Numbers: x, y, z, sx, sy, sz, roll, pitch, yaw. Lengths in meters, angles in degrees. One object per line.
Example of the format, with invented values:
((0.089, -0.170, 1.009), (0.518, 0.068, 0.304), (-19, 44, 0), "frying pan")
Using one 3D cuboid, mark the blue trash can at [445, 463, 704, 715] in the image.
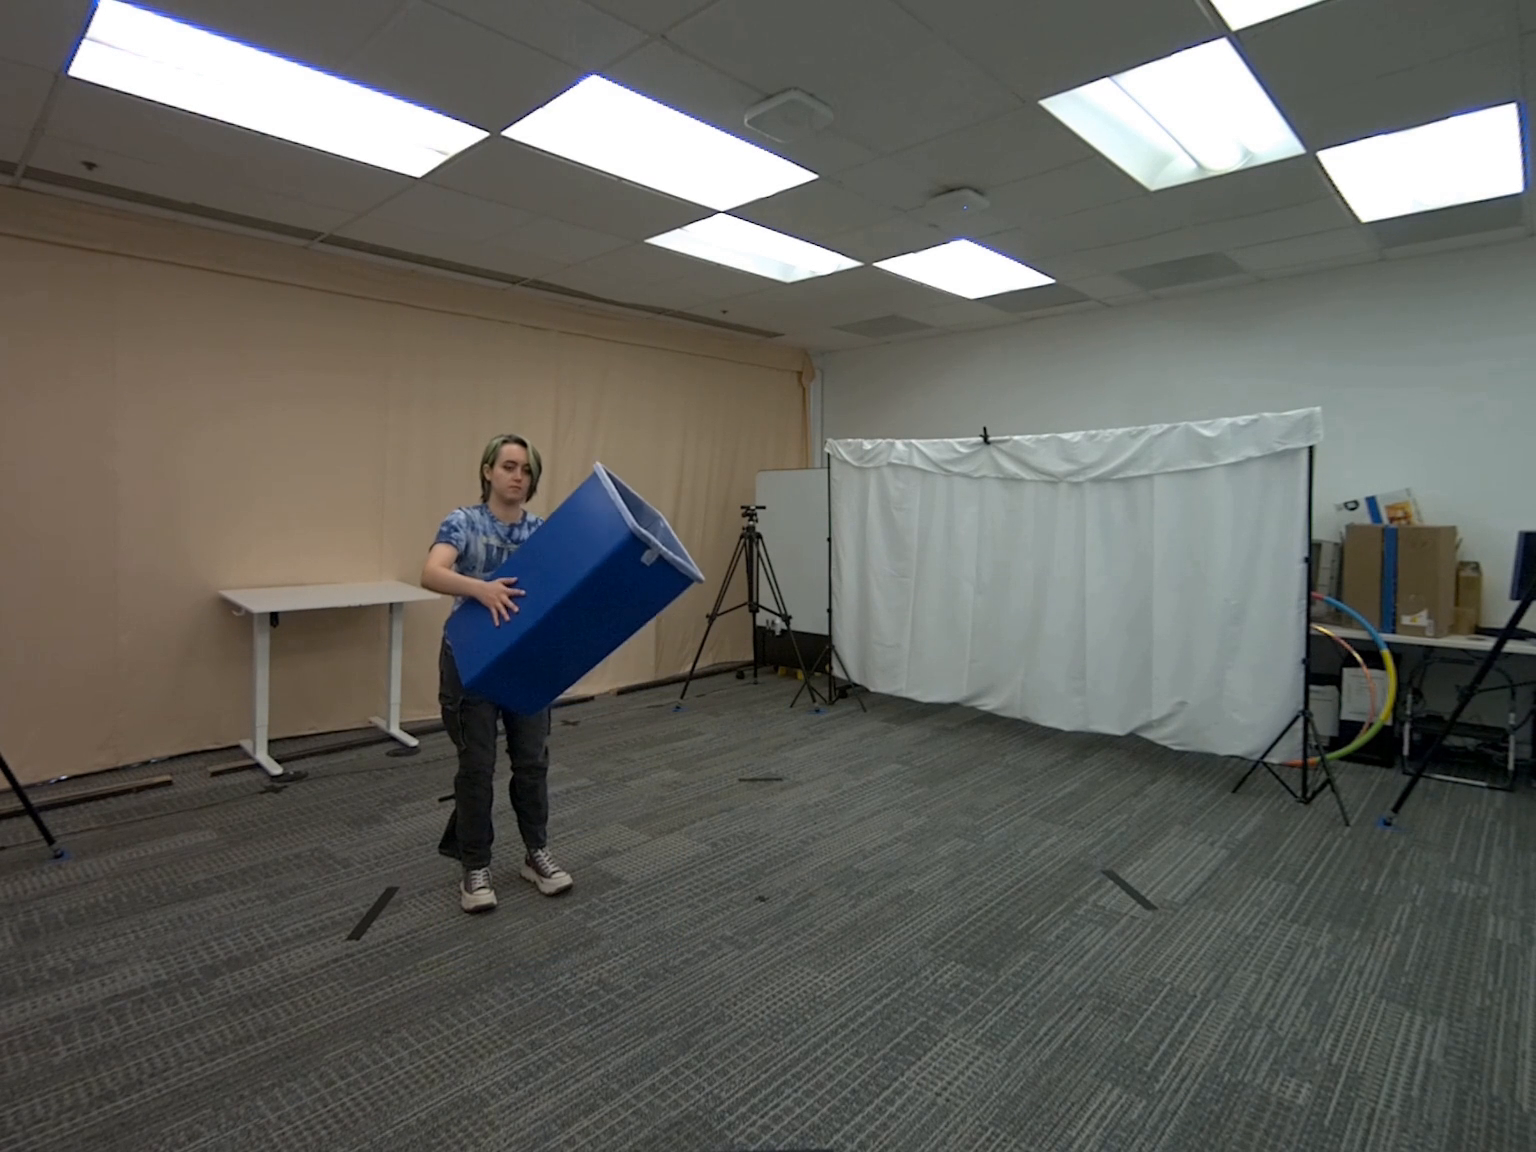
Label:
((-0.619, 0.062, 2.623), (0.364, 0.716, 0.387), (41, 11, -49), "blue trash can")
